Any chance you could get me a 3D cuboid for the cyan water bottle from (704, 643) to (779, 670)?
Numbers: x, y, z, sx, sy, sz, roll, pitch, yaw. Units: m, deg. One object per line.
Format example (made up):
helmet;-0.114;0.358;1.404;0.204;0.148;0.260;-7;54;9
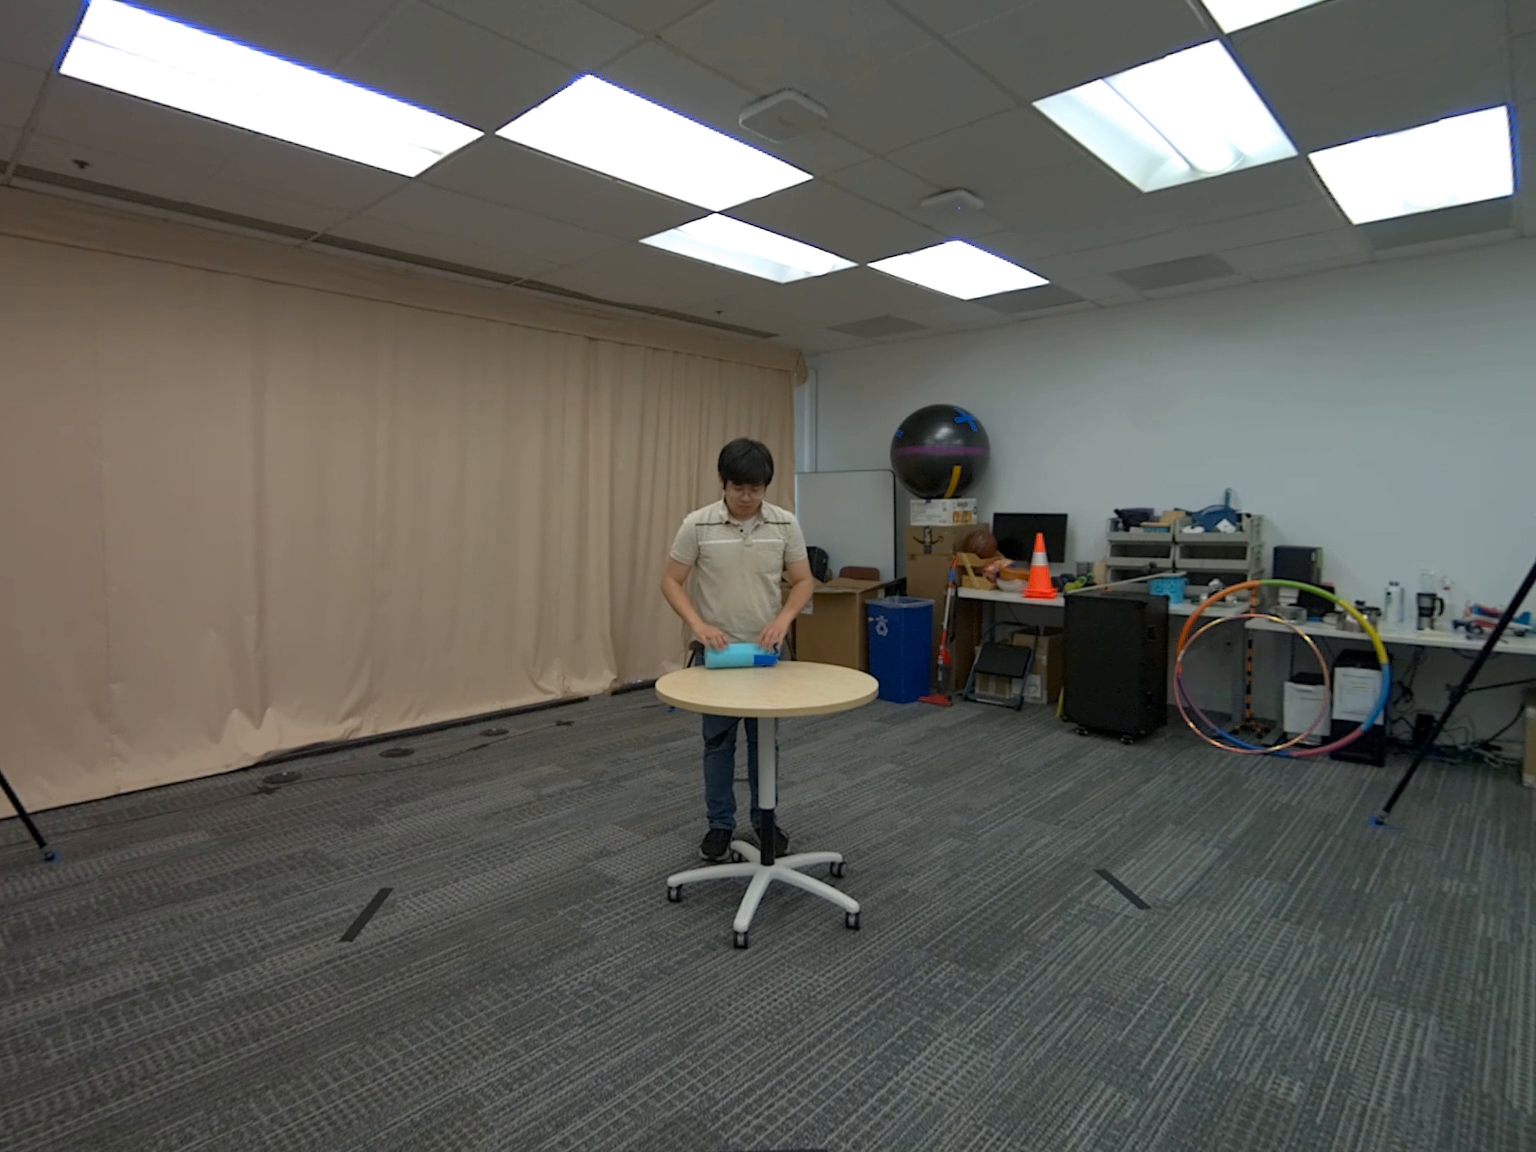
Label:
cyan water bottle;-0.092;0.299;3.176;0.281;0.092;0.093;0;4;-7
